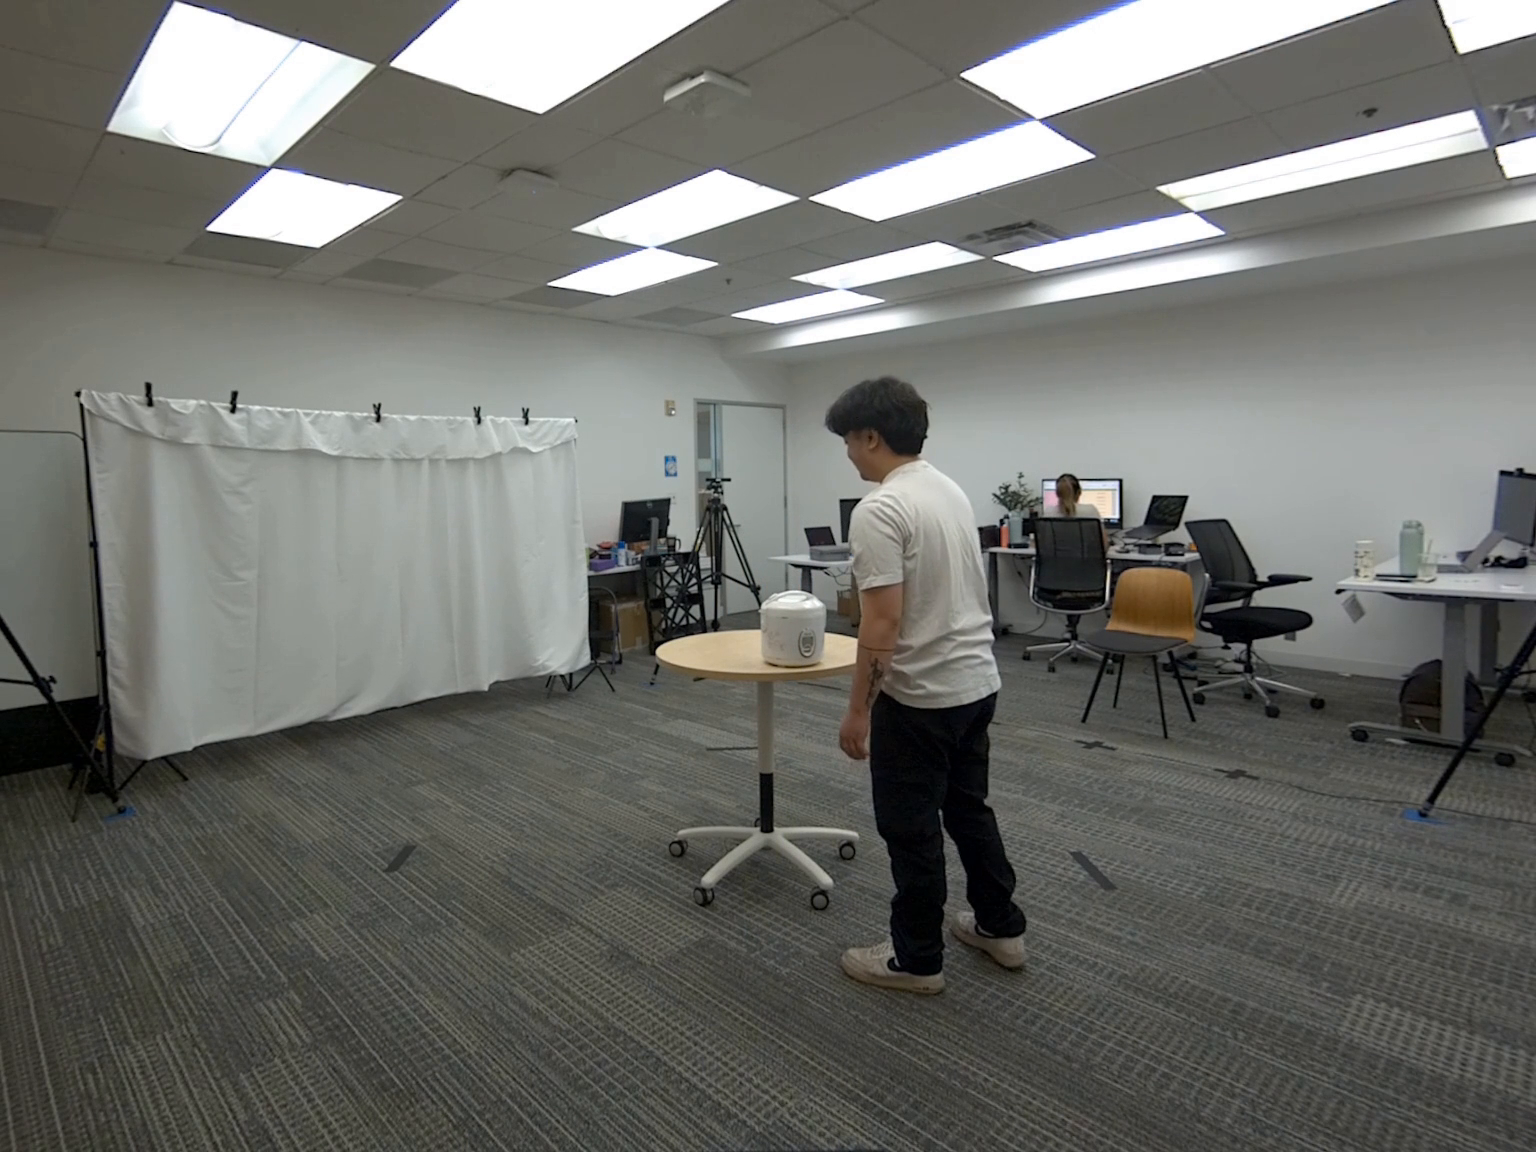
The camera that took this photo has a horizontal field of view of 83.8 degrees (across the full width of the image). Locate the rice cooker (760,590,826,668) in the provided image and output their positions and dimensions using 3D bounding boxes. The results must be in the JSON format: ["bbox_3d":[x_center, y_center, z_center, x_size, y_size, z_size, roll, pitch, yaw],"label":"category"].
[{"bbox_3d":[0.084,0.164,2.769,0.216,0.232,0.222,-4,5,-22],"label":"rice cooker"}]
